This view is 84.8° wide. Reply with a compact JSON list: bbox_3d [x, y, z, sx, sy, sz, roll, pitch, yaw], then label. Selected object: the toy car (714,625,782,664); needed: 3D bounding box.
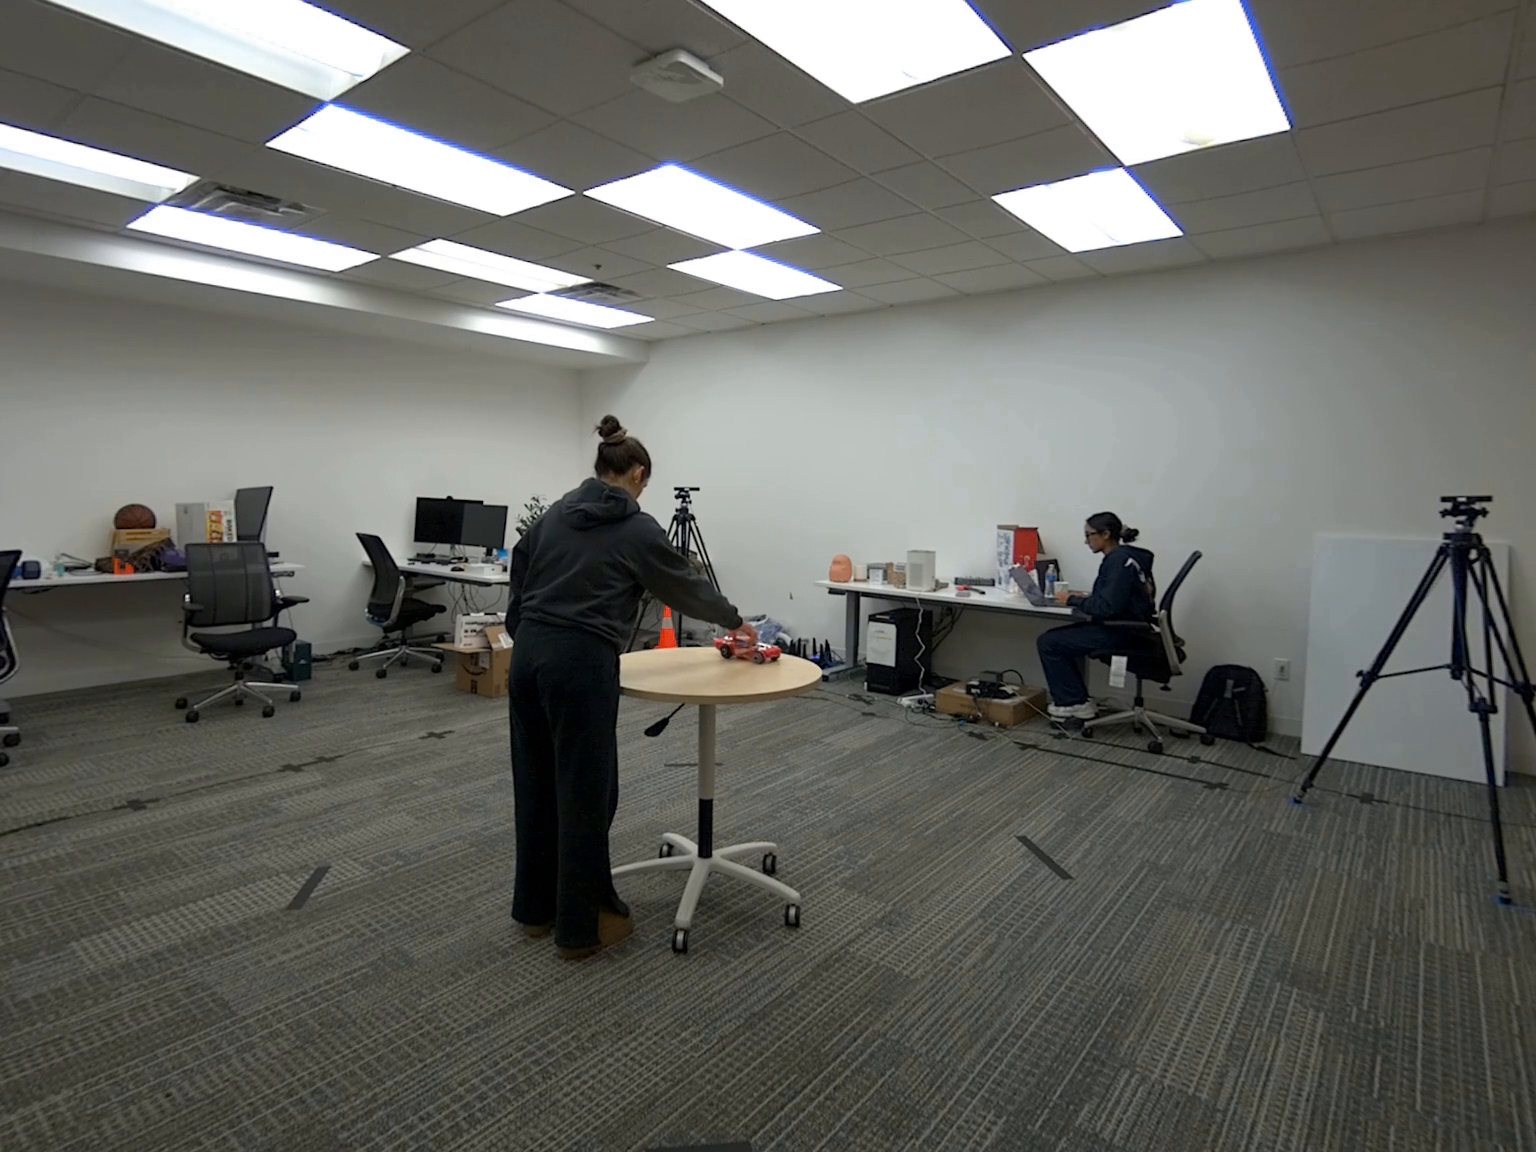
[{"bbox_3d":[-0.083,0.260,3.044,0.264,0.082,0.126,19,15,37],"label":"toy car"}]
